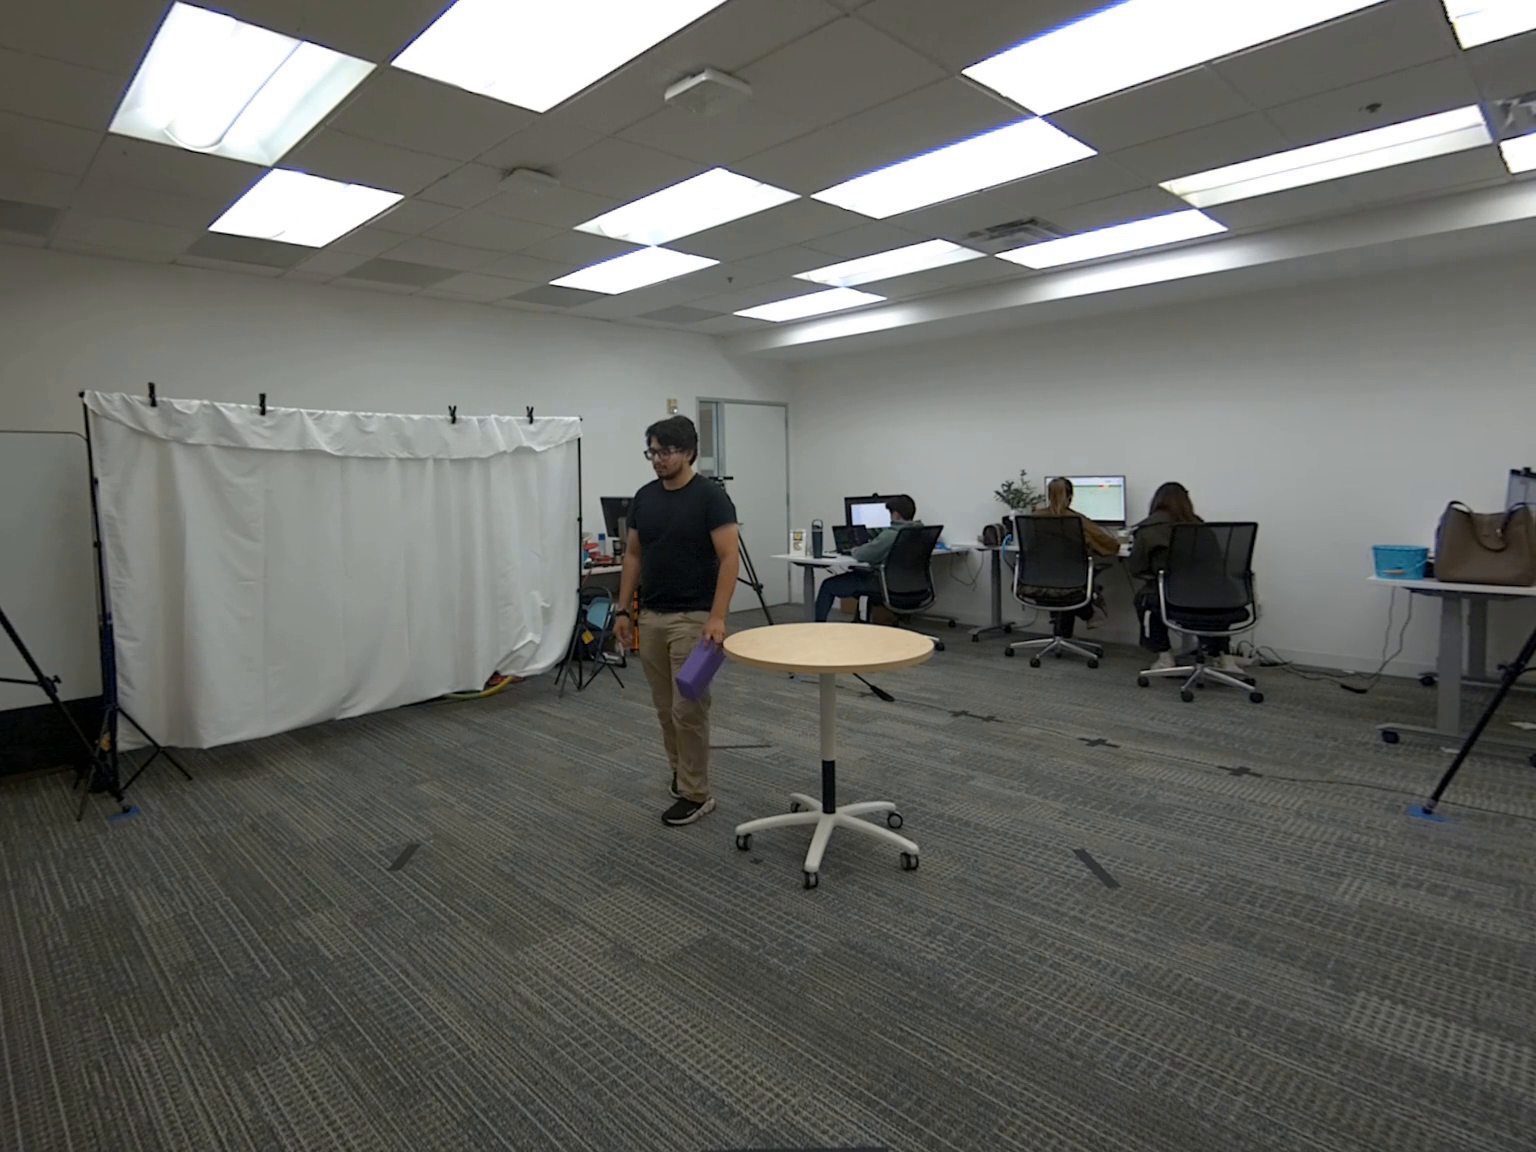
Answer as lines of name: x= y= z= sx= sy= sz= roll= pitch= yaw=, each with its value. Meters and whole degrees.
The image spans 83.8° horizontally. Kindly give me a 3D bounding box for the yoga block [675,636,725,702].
yoga block: x=-0.260 y=0.359 z=3.334 sx=0.078 sy=0.144 sz=0.230 roll=19 pitch=56 yaw=22
